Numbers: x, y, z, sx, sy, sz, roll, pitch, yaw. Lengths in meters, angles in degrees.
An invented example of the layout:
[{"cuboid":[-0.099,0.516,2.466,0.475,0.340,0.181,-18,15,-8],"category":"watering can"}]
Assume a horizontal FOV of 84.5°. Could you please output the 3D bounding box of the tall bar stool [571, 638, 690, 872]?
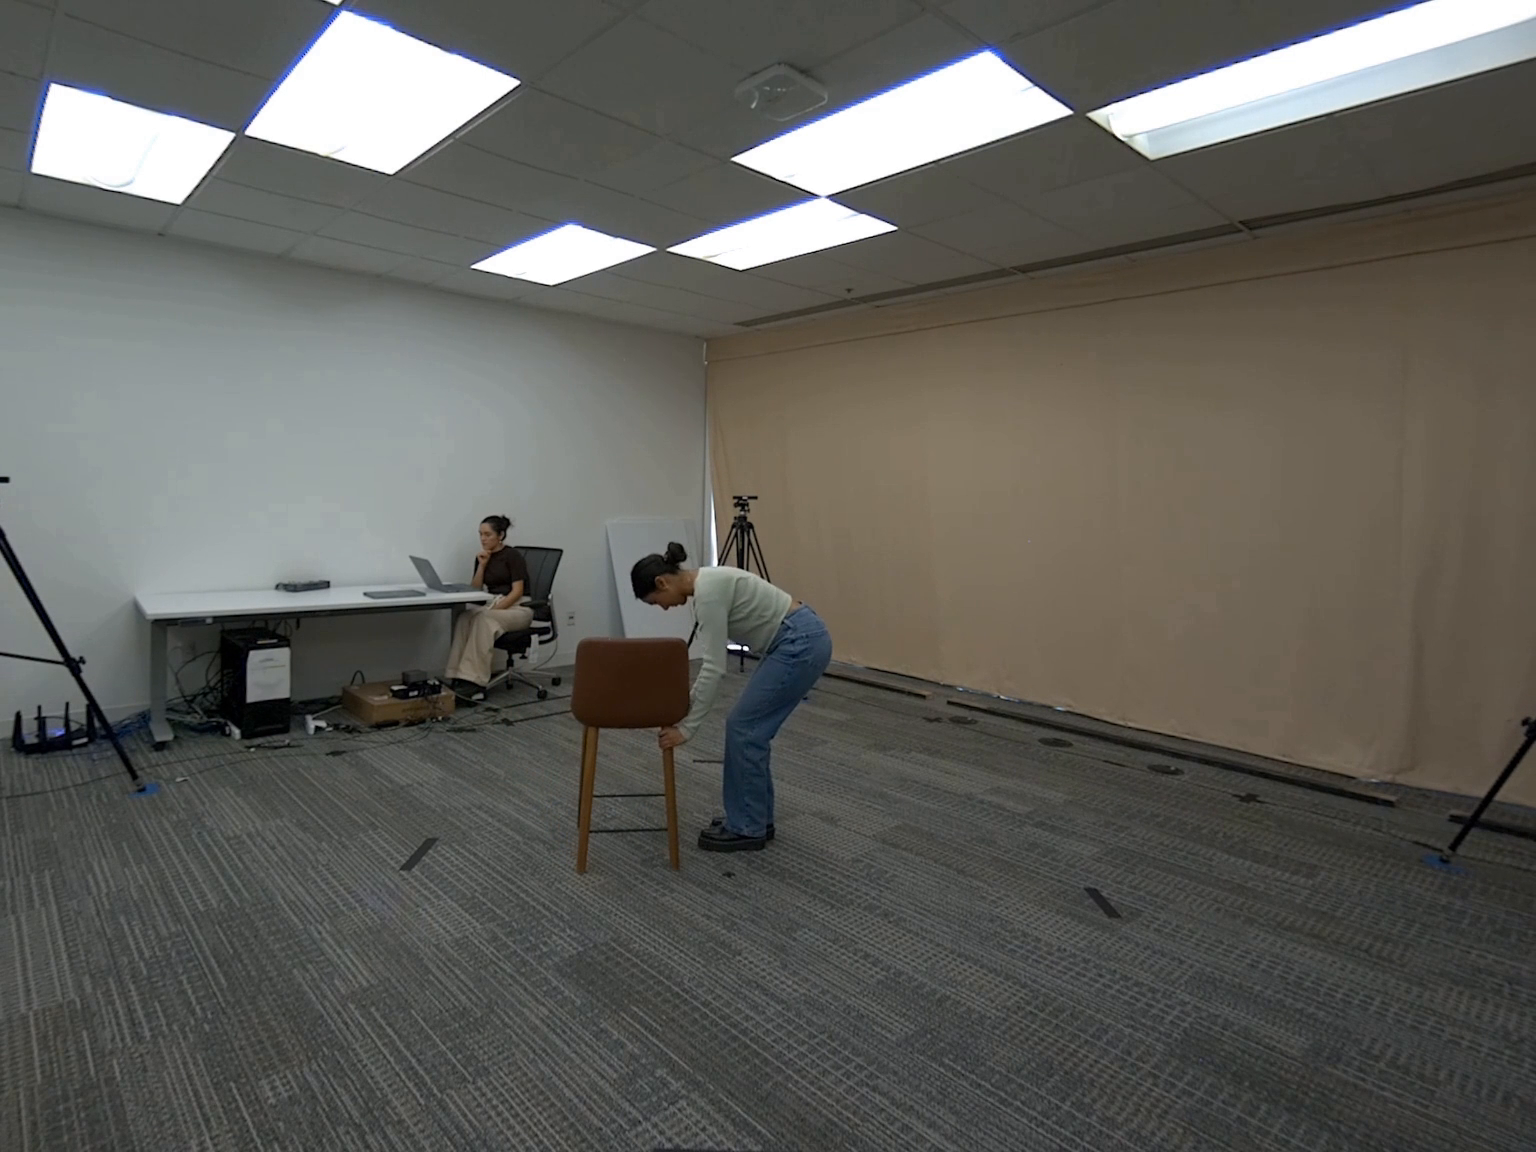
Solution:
[{"cuboid":[-0.557,0.646,3.298,0.453,0.887,0.473,0,5,-10],"category":"tall bar stool"}]
